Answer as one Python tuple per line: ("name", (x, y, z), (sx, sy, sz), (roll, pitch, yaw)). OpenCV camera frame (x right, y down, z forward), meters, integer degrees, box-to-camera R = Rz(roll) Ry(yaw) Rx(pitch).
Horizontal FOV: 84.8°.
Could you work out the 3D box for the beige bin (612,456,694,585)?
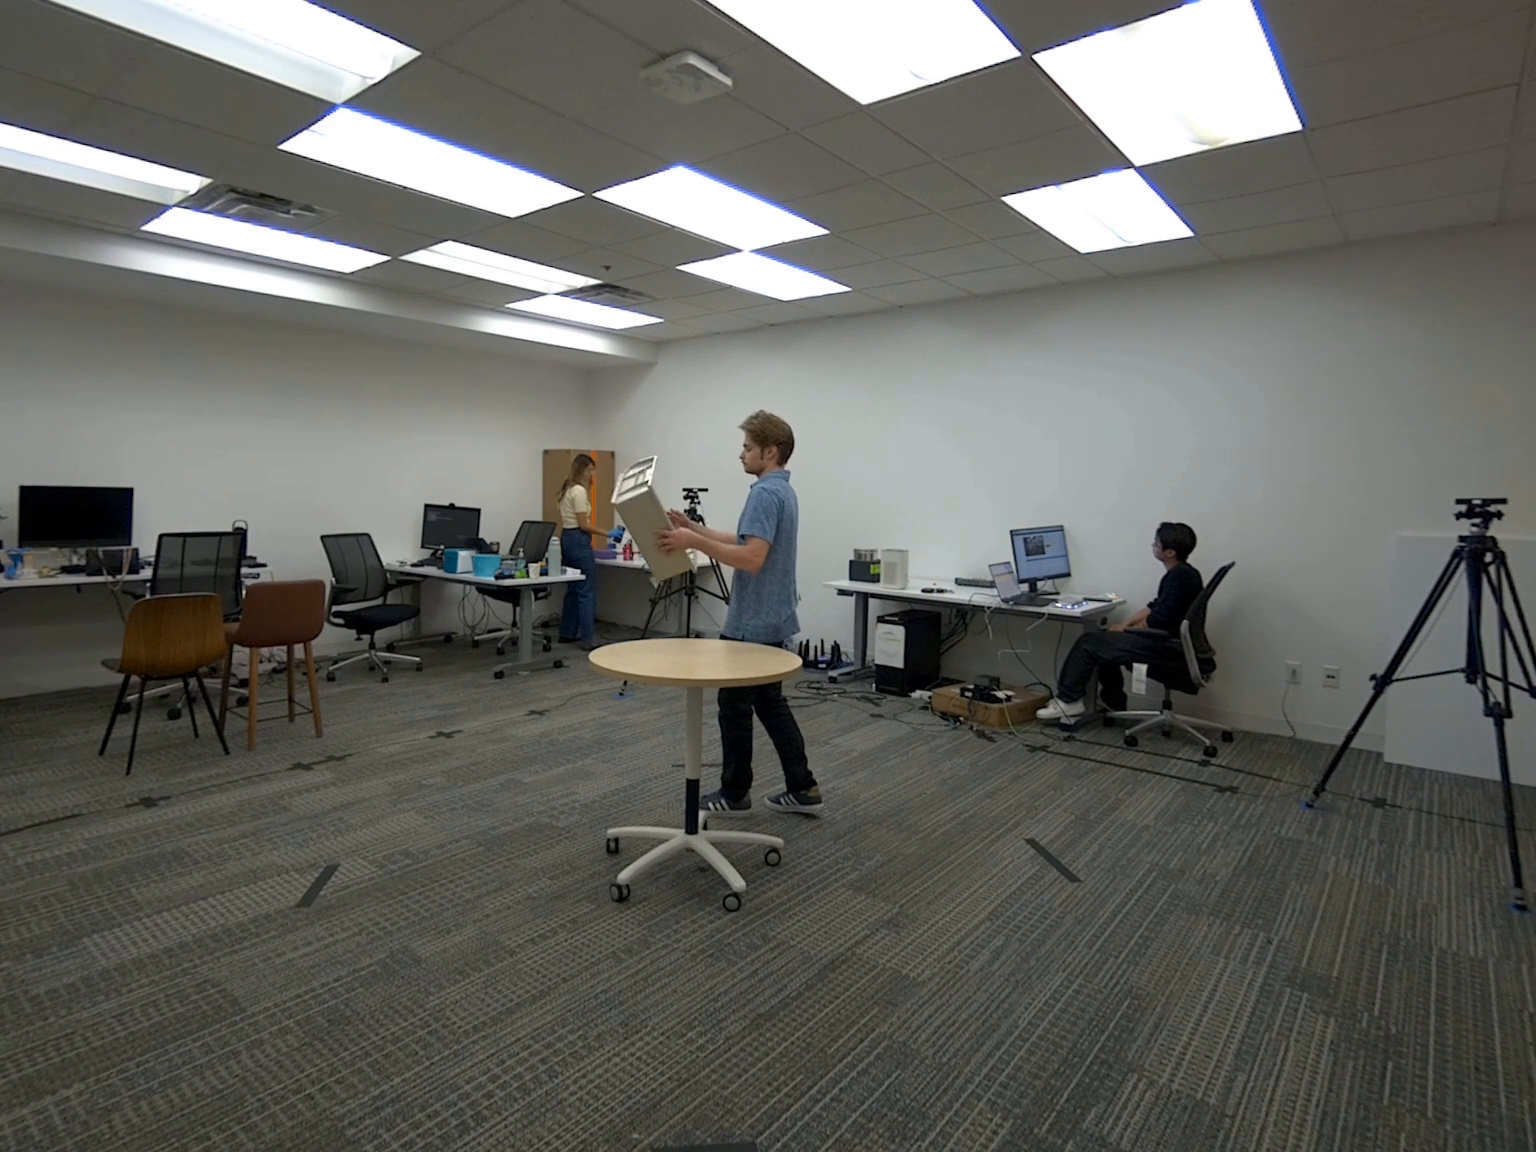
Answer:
("beige bin", (-0.479, -0.244, 3.588), (0.190, 0.411, 0.385), (-21, 24, 10))
